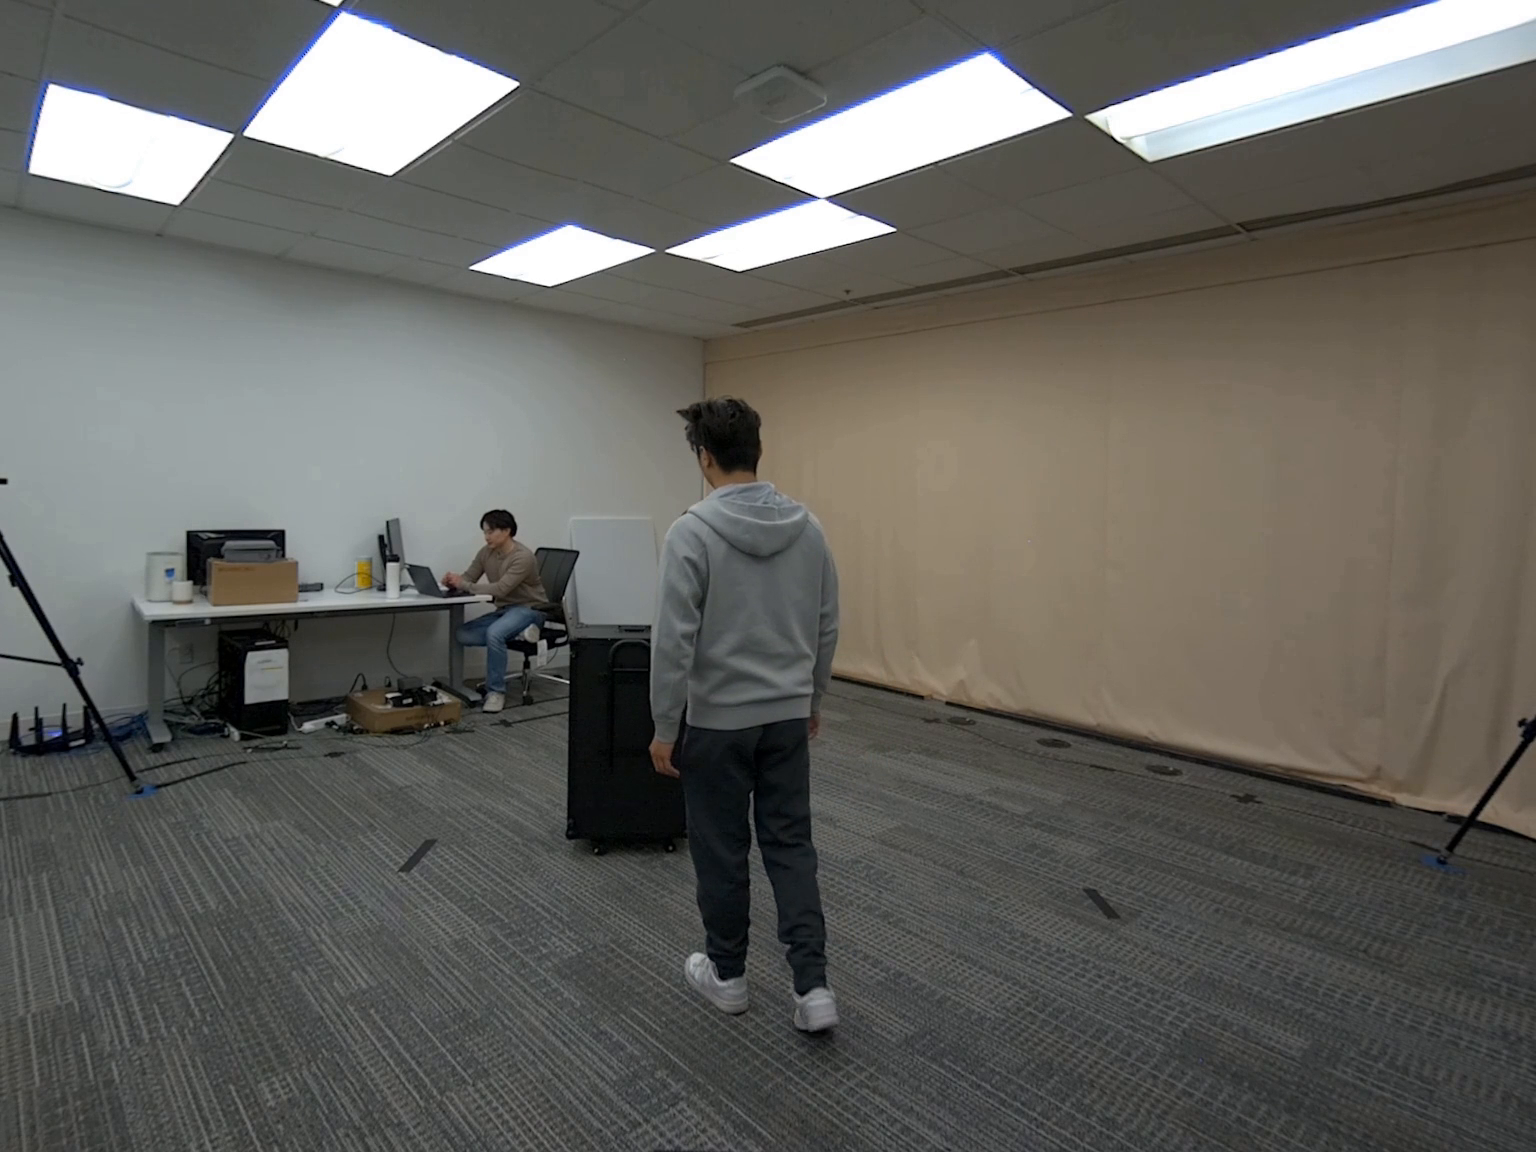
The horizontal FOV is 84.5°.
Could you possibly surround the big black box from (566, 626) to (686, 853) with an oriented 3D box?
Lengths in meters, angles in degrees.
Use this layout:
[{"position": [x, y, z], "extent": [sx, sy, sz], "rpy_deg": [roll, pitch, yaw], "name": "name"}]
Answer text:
[{"position": [-0.552, 0.646, 3.395], "extent": [0.518, 0.859, 0.399], "rpy_deg": [2, 4, -7], "name": "big black box"}]
